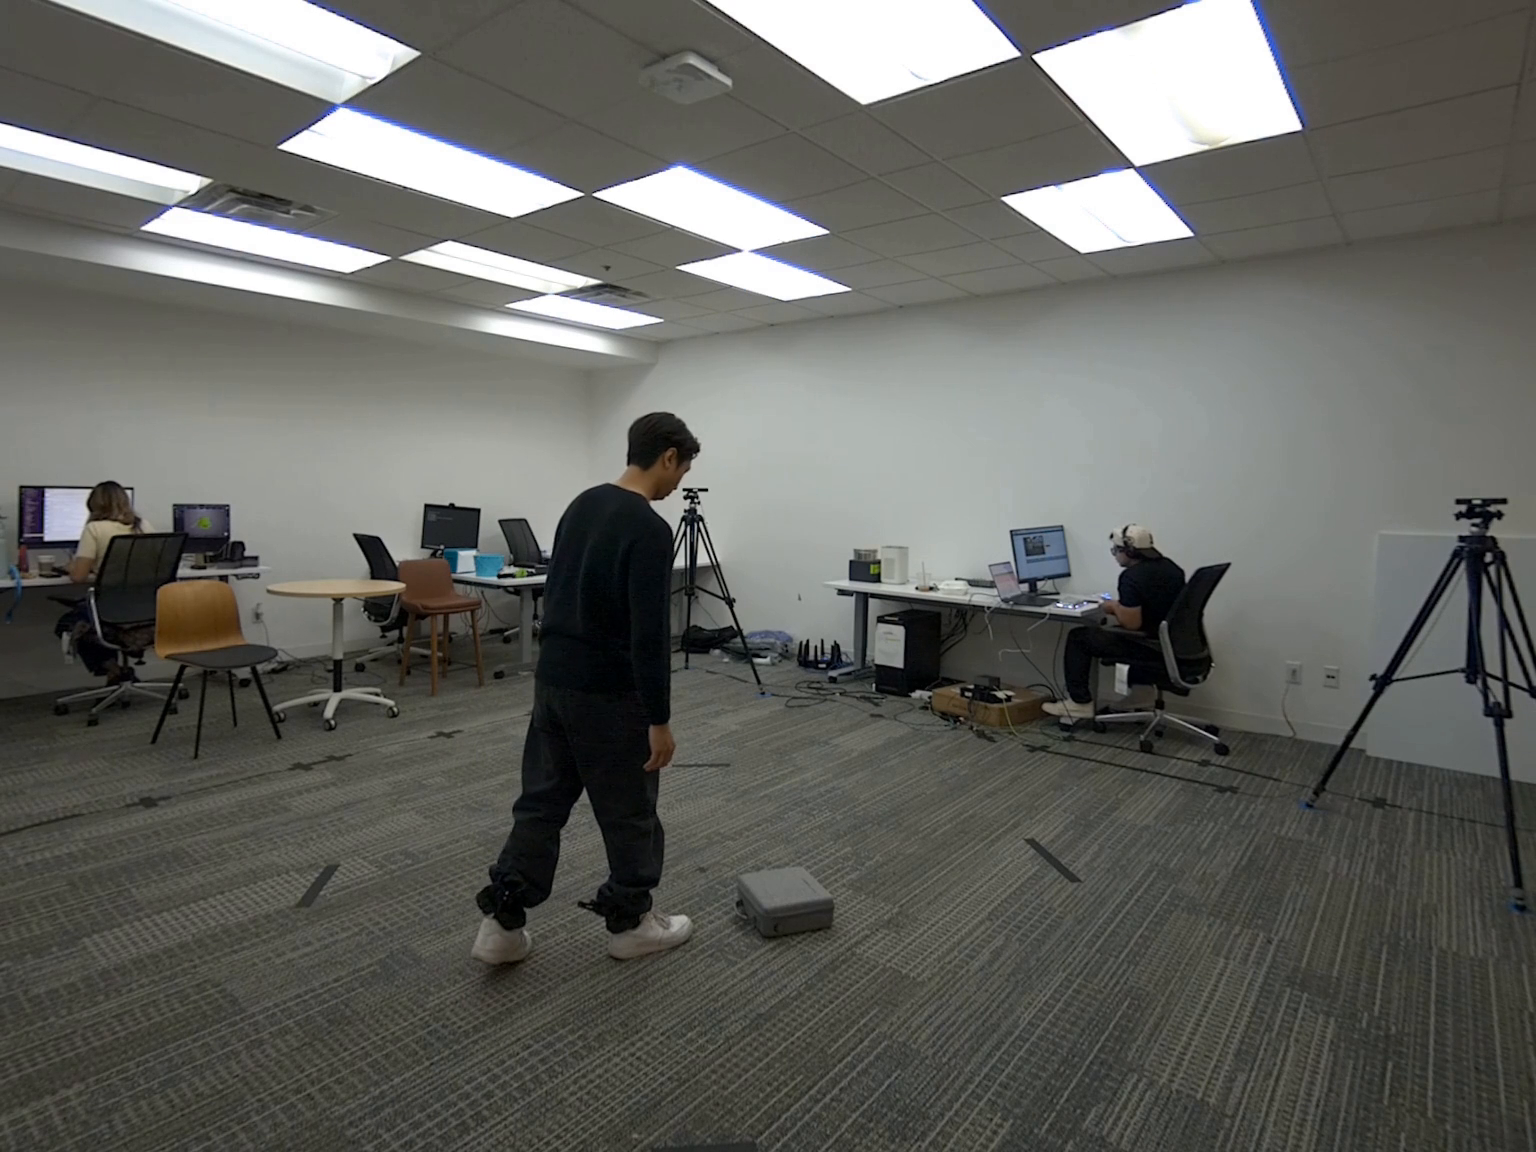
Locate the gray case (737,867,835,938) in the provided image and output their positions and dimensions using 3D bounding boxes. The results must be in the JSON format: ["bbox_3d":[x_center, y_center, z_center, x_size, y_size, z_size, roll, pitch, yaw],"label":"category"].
[{"bbox_3d":[0.043,1.048,2.773,0.255,0.104,0.263,-2,7,-21],"label":"gray case"}]
